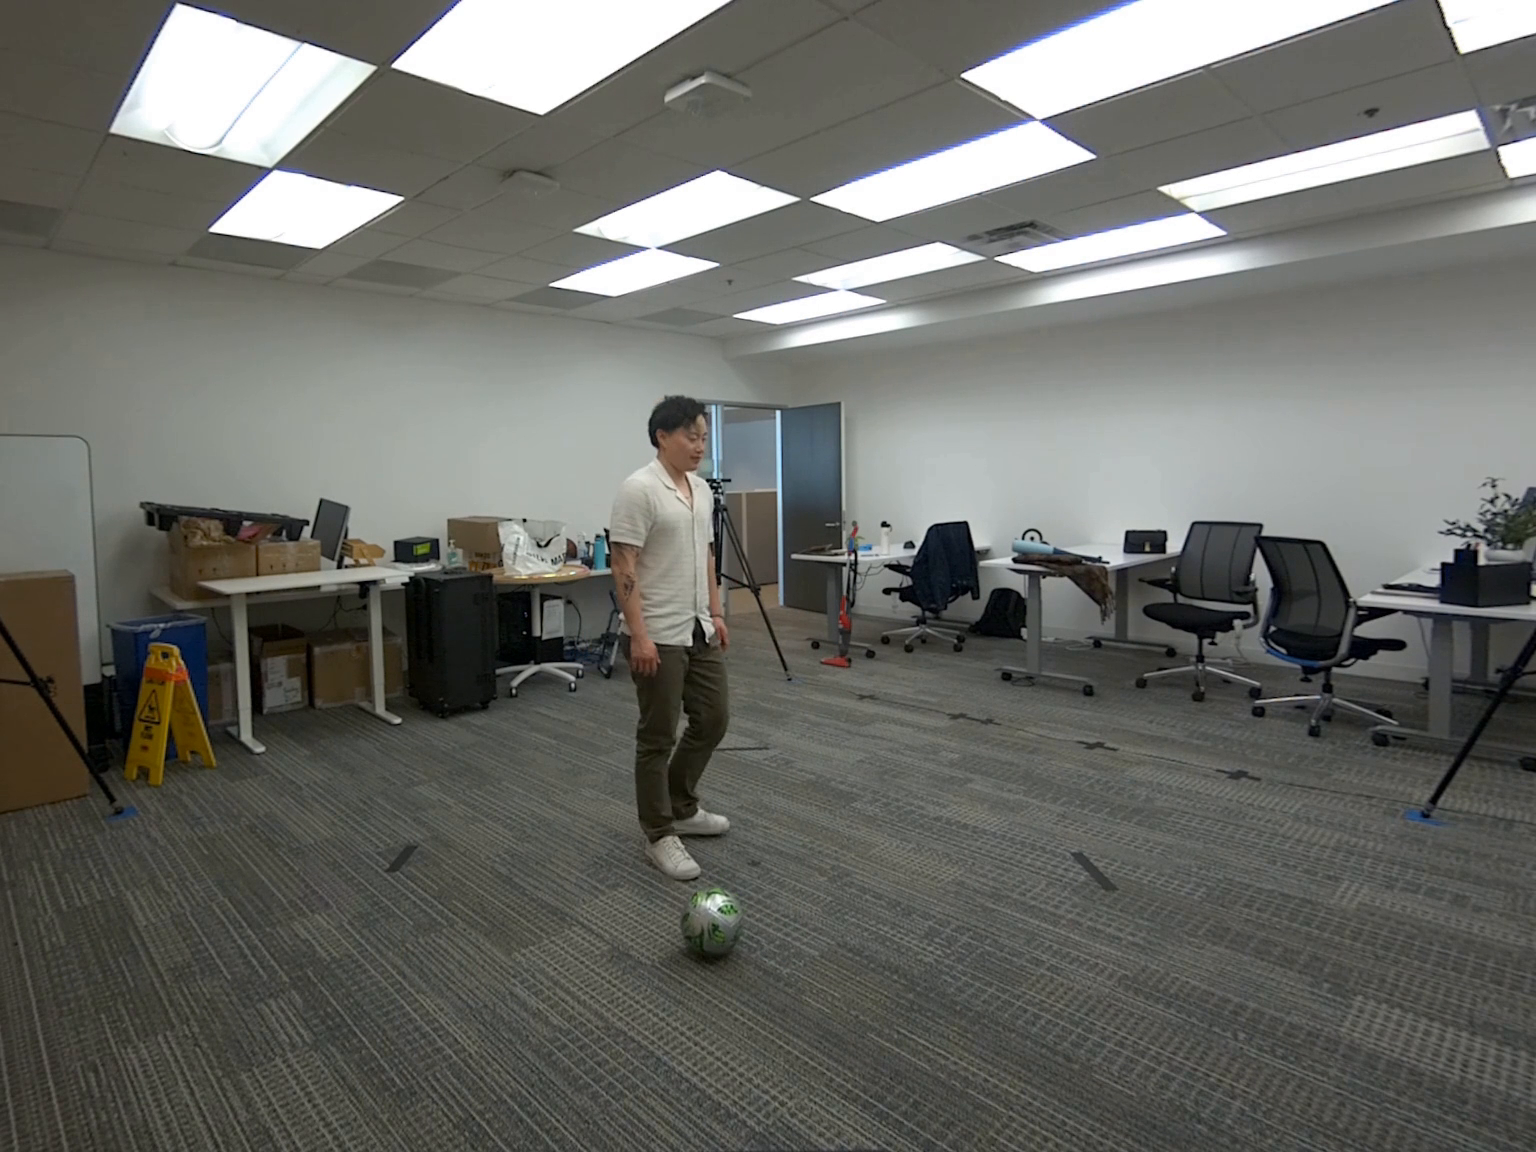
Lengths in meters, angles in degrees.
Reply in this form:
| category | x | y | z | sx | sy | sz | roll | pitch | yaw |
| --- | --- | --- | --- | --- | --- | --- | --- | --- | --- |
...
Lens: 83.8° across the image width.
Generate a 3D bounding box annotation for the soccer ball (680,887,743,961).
| category | x | y | z | sx | sy | sz | roll | pitch | yaw |
| --- | --- | --- | --- | --- | --- | --- | --- | --- | --- |
| soccer ball | -0.159 | 1.028 | 2.522 | 0.187 | 0.187 | 0.188 | -1 | 5 | -2 |
